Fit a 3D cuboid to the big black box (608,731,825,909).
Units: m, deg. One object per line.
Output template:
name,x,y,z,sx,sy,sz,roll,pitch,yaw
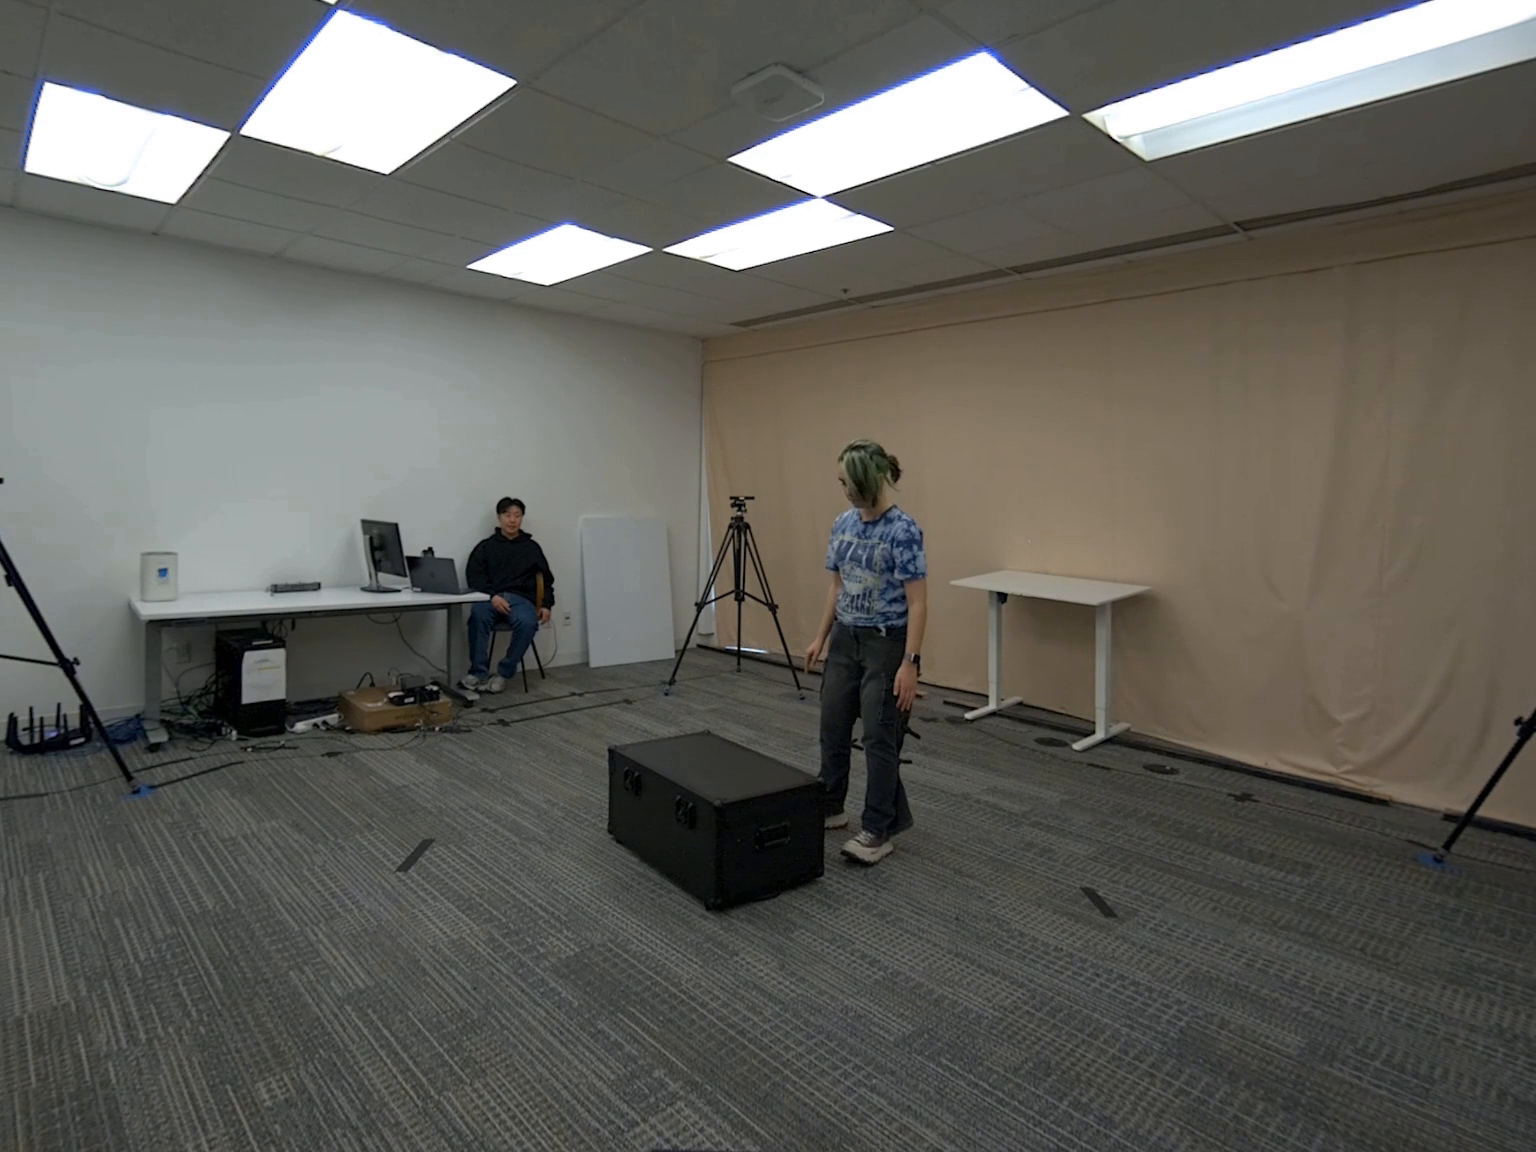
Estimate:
big black box,-0.244,0.898,3.252,0.510,0.395,0.883,-2,6,-37
